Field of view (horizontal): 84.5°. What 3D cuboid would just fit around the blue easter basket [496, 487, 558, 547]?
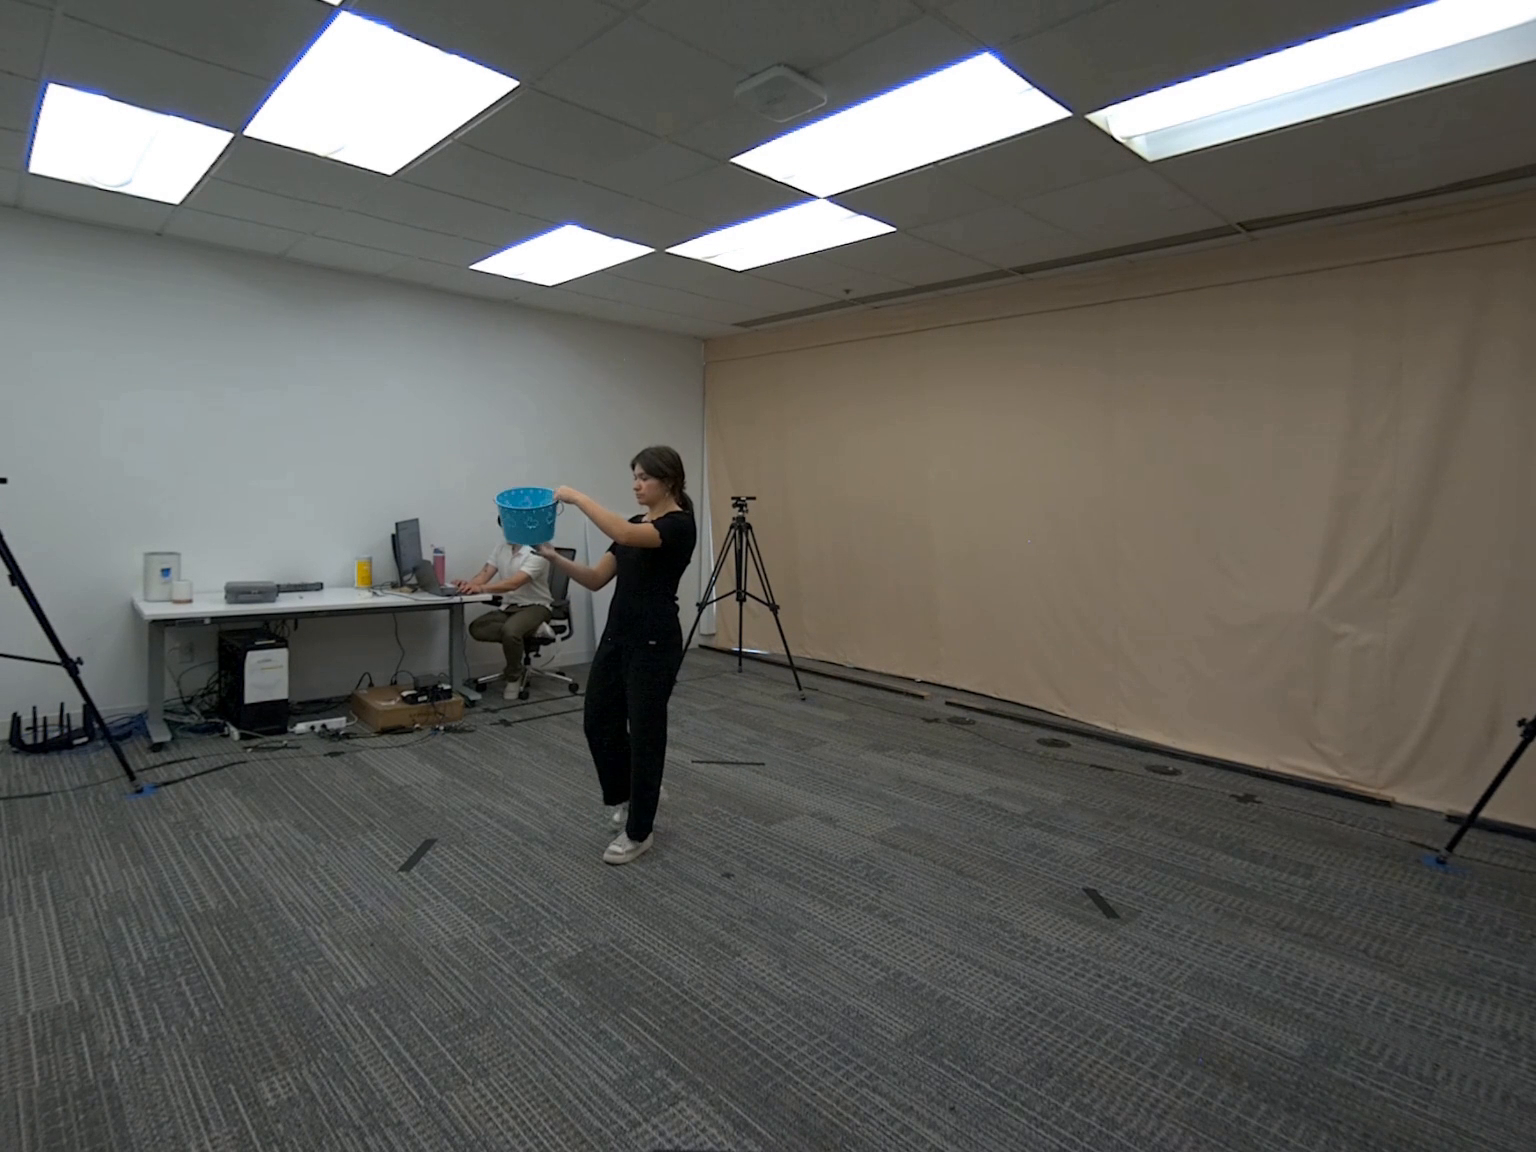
[{"bbox_3d":[-0.877,-0.214,3.071,0.243,0.153,0.247,1,23,-2],"label":"blue easter basket"}]
